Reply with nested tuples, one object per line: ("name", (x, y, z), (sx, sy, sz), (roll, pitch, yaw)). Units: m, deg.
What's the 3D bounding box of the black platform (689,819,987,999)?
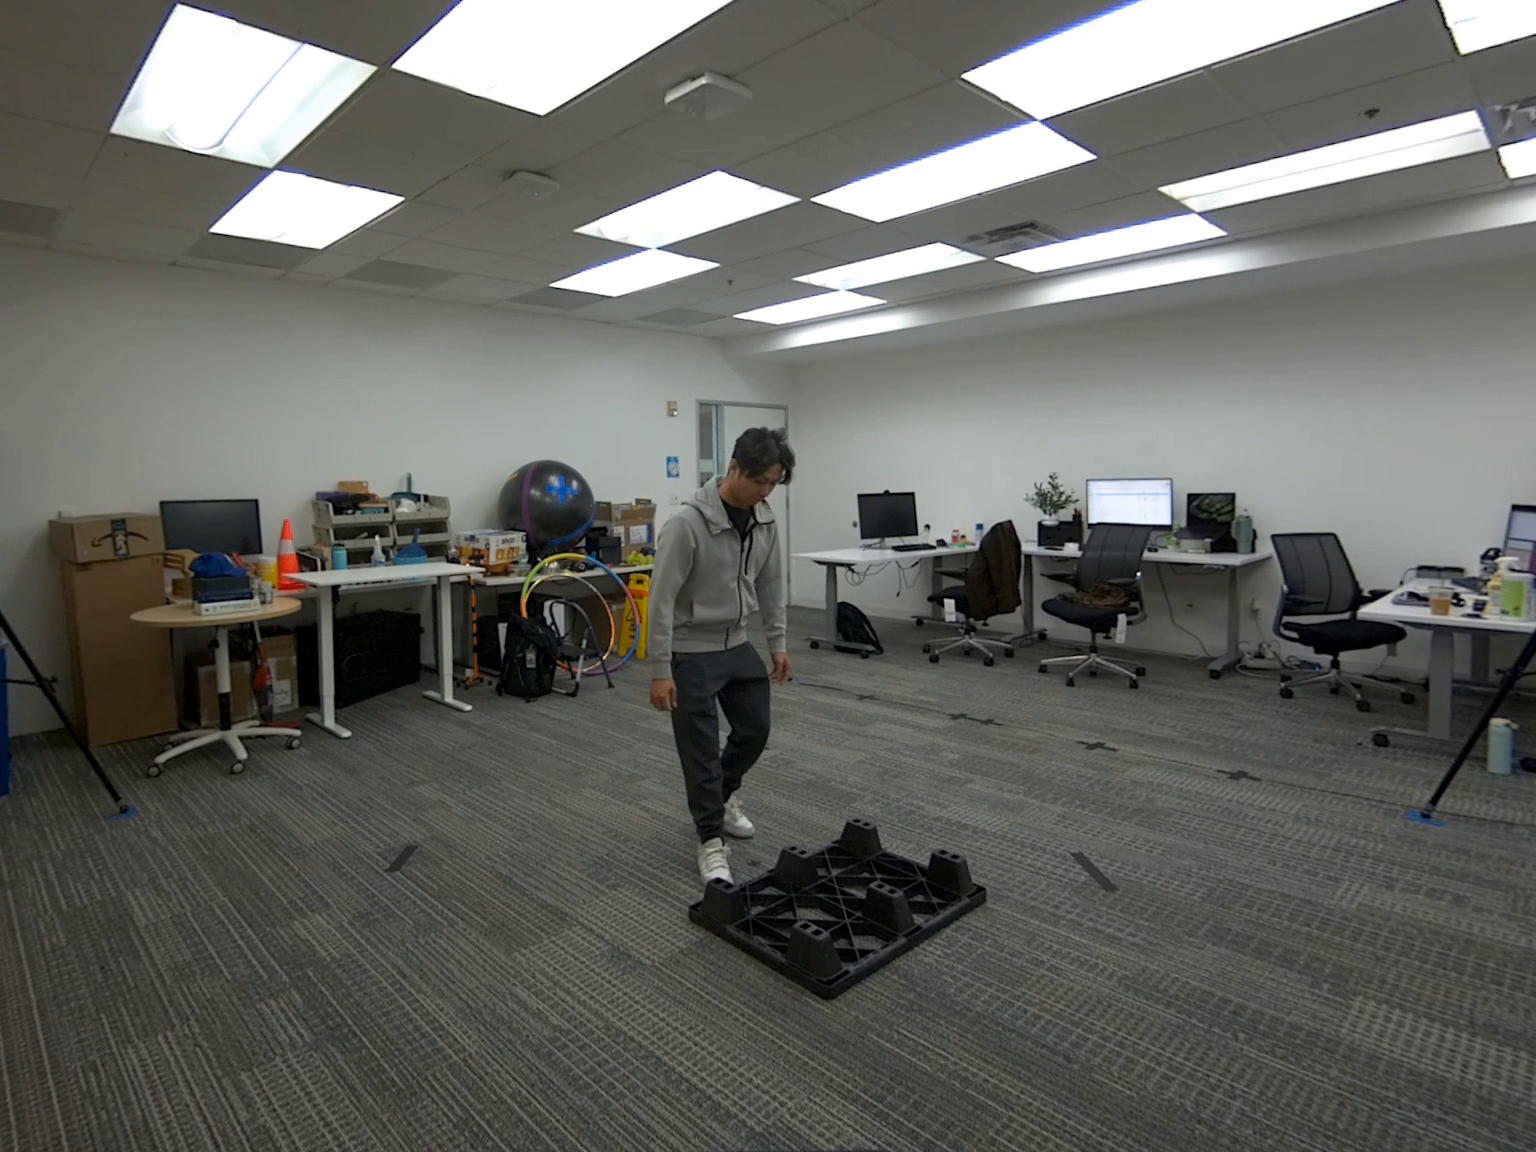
("black platform", (0.236, 1.014, 2.764), (0.784, 0.142, 0.624), (-7, 9, -43))
